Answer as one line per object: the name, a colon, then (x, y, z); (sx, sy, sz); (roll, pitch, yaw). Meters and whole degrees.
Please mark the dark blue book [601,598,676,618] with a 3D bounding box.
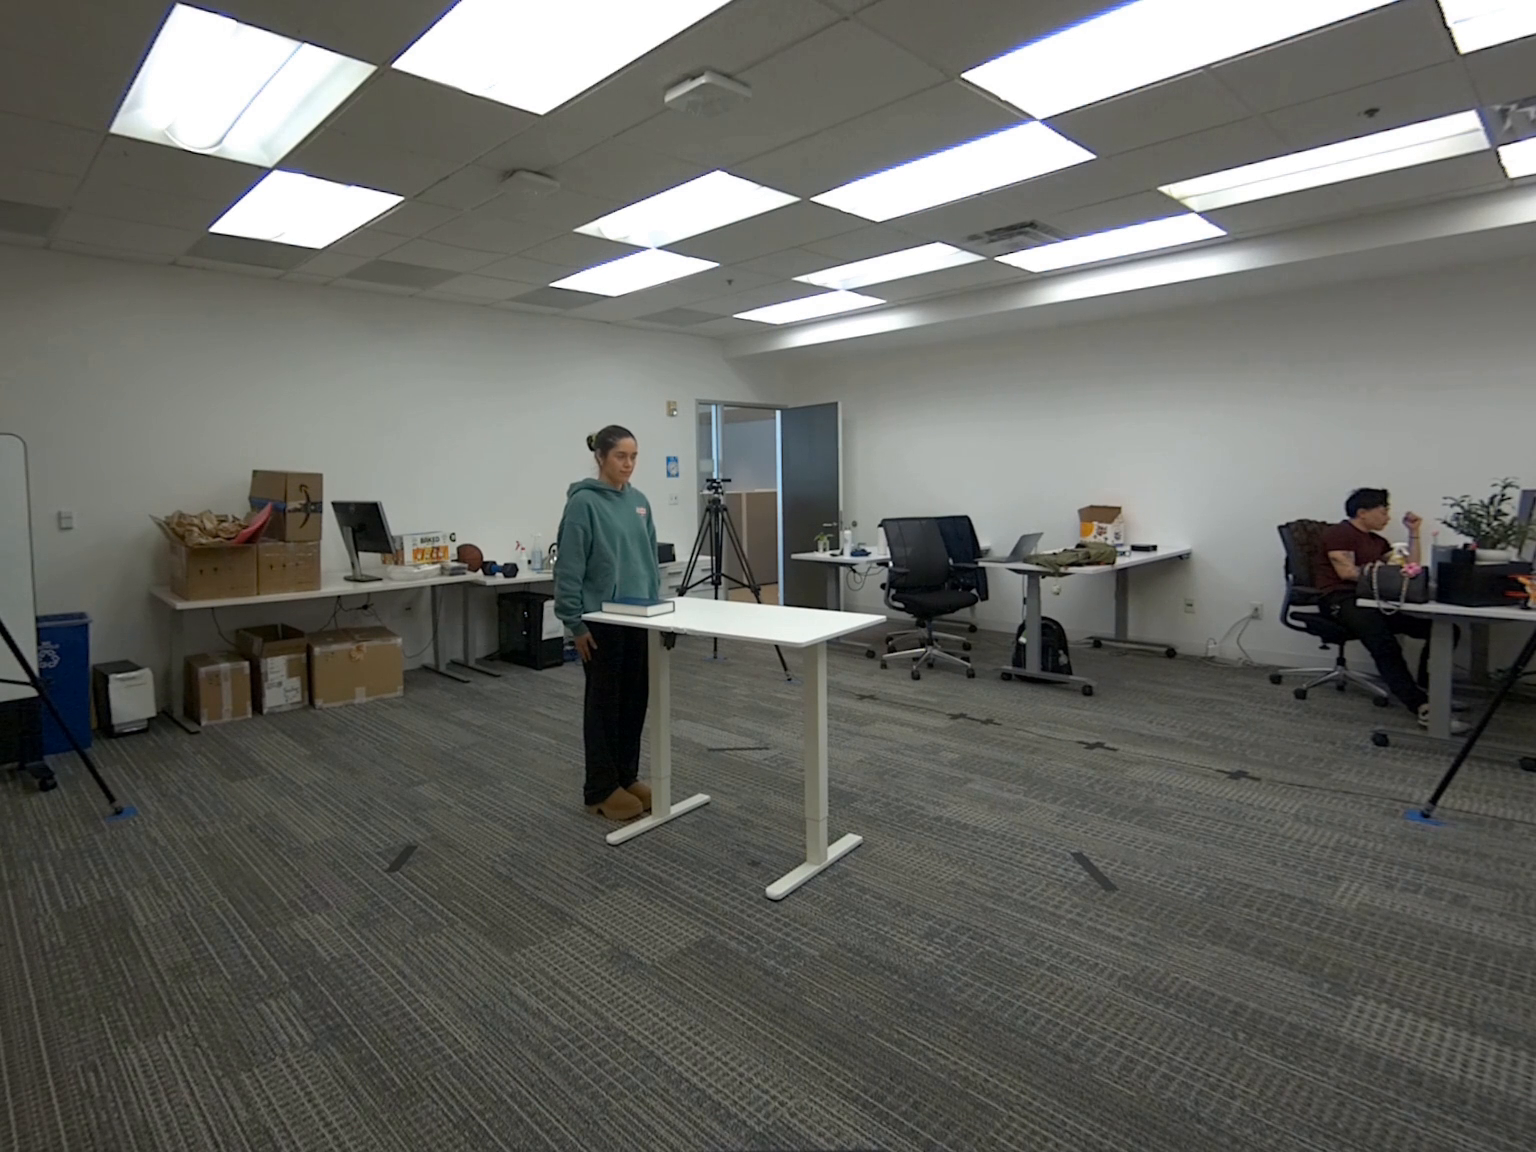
dark blue book: (-0.513, 0.122, 3.349); (0.252, 0.045, 0.159); (3, 7, 33)
